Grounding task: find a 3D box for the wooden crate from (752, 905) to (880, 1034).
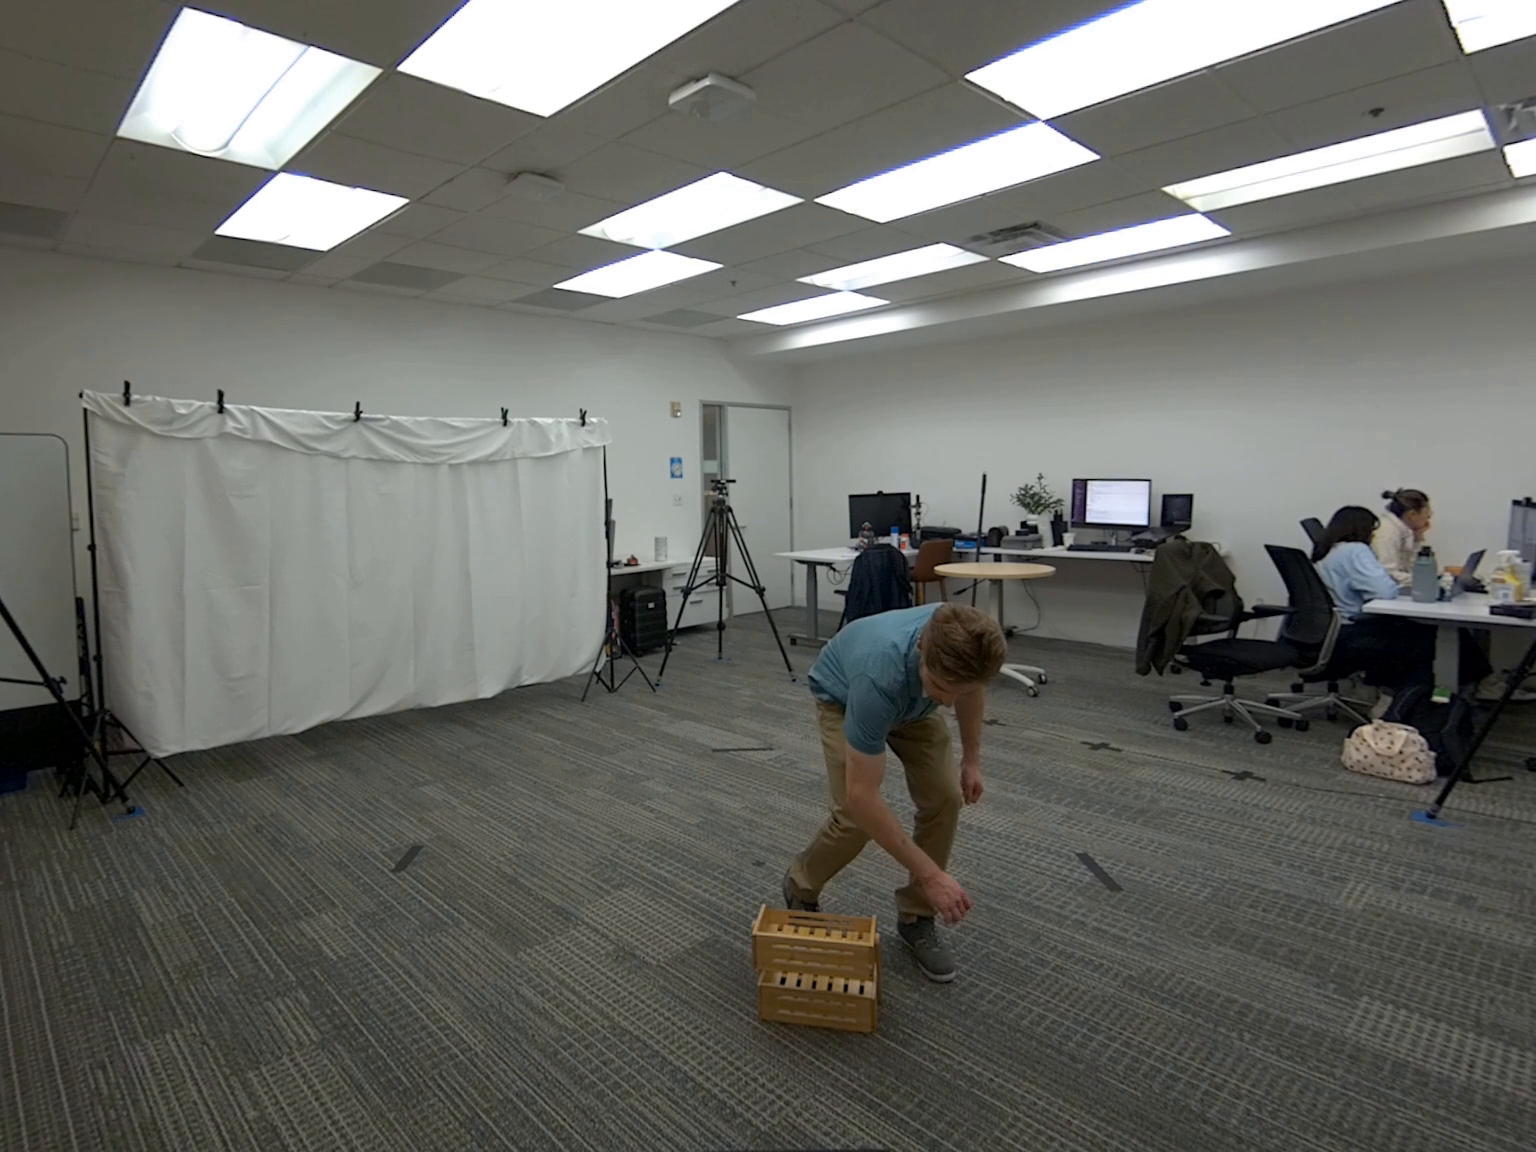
[{"bbox_3d":[0.143,1.003,2.275,0.328,0.272,0.300,0,6,12],"label":"wooden crate"}]
